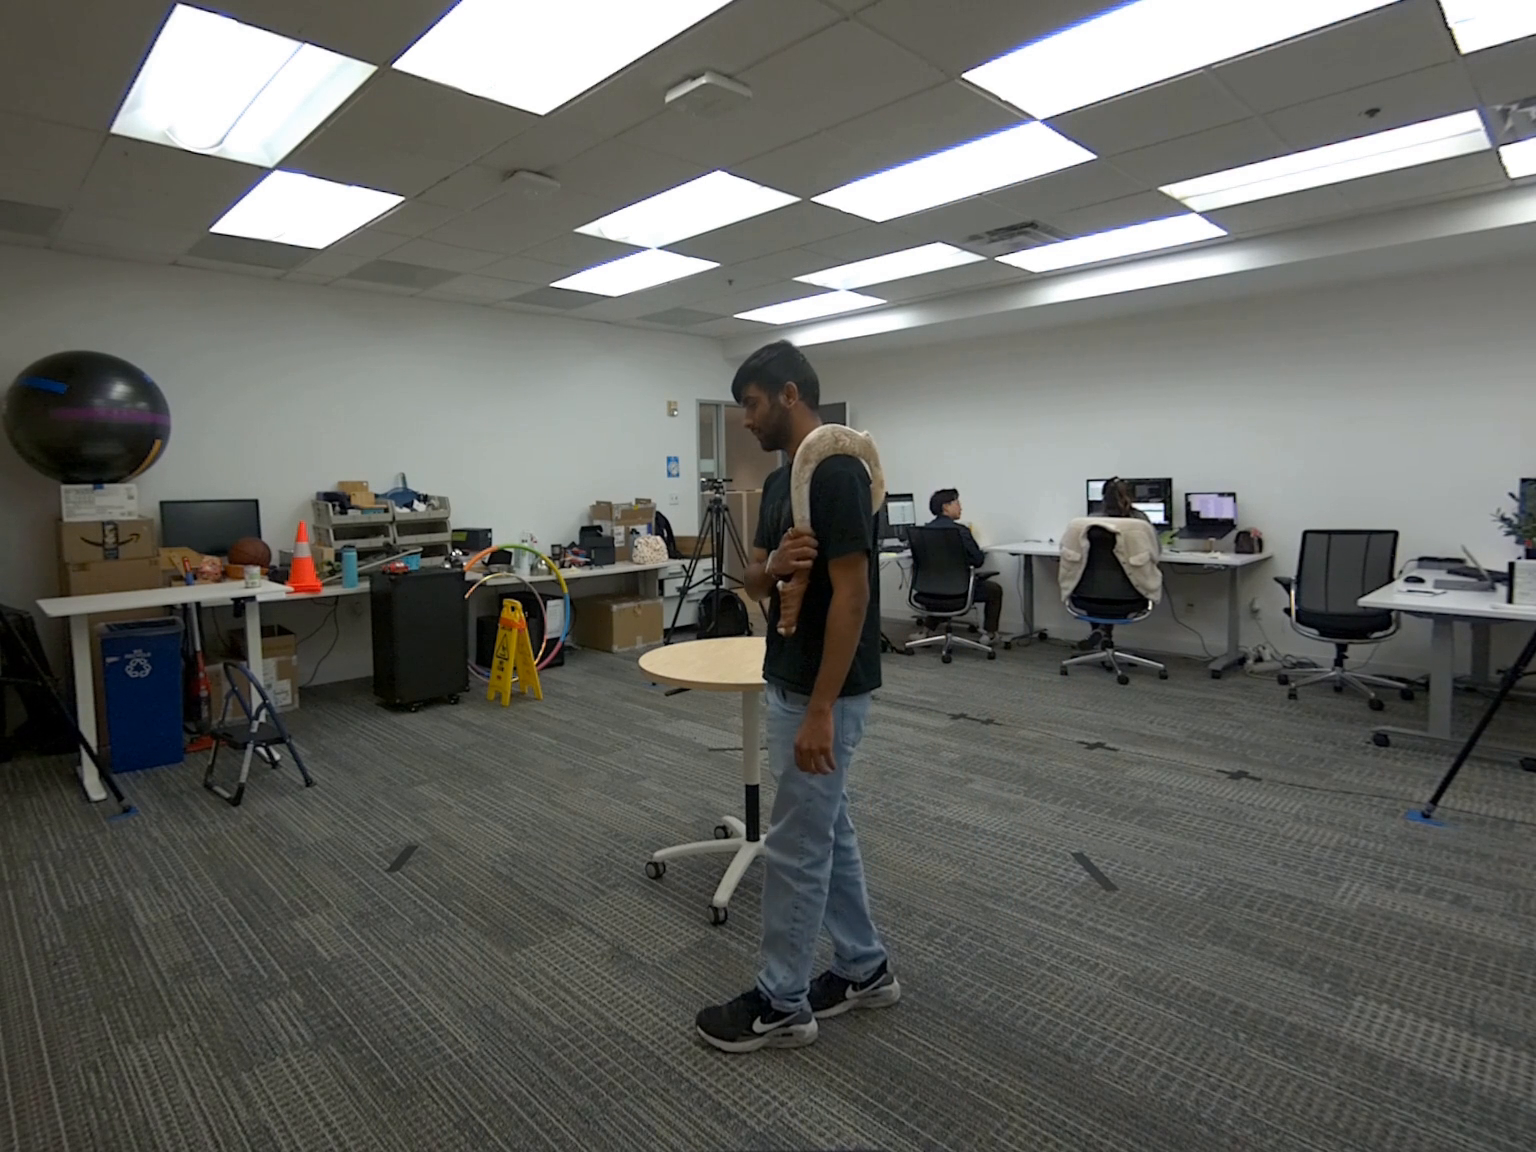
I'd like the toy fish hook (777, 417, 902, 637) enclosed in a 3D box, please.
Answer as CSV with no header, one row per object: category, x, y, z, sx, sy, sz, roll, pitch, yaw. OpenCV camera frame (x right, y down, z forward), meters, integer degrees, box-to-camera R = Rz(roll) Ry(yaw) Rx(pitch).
toy fish hook,0.160,-0.099,1.958,0.223,0.509,0.048,8,-6,-5
